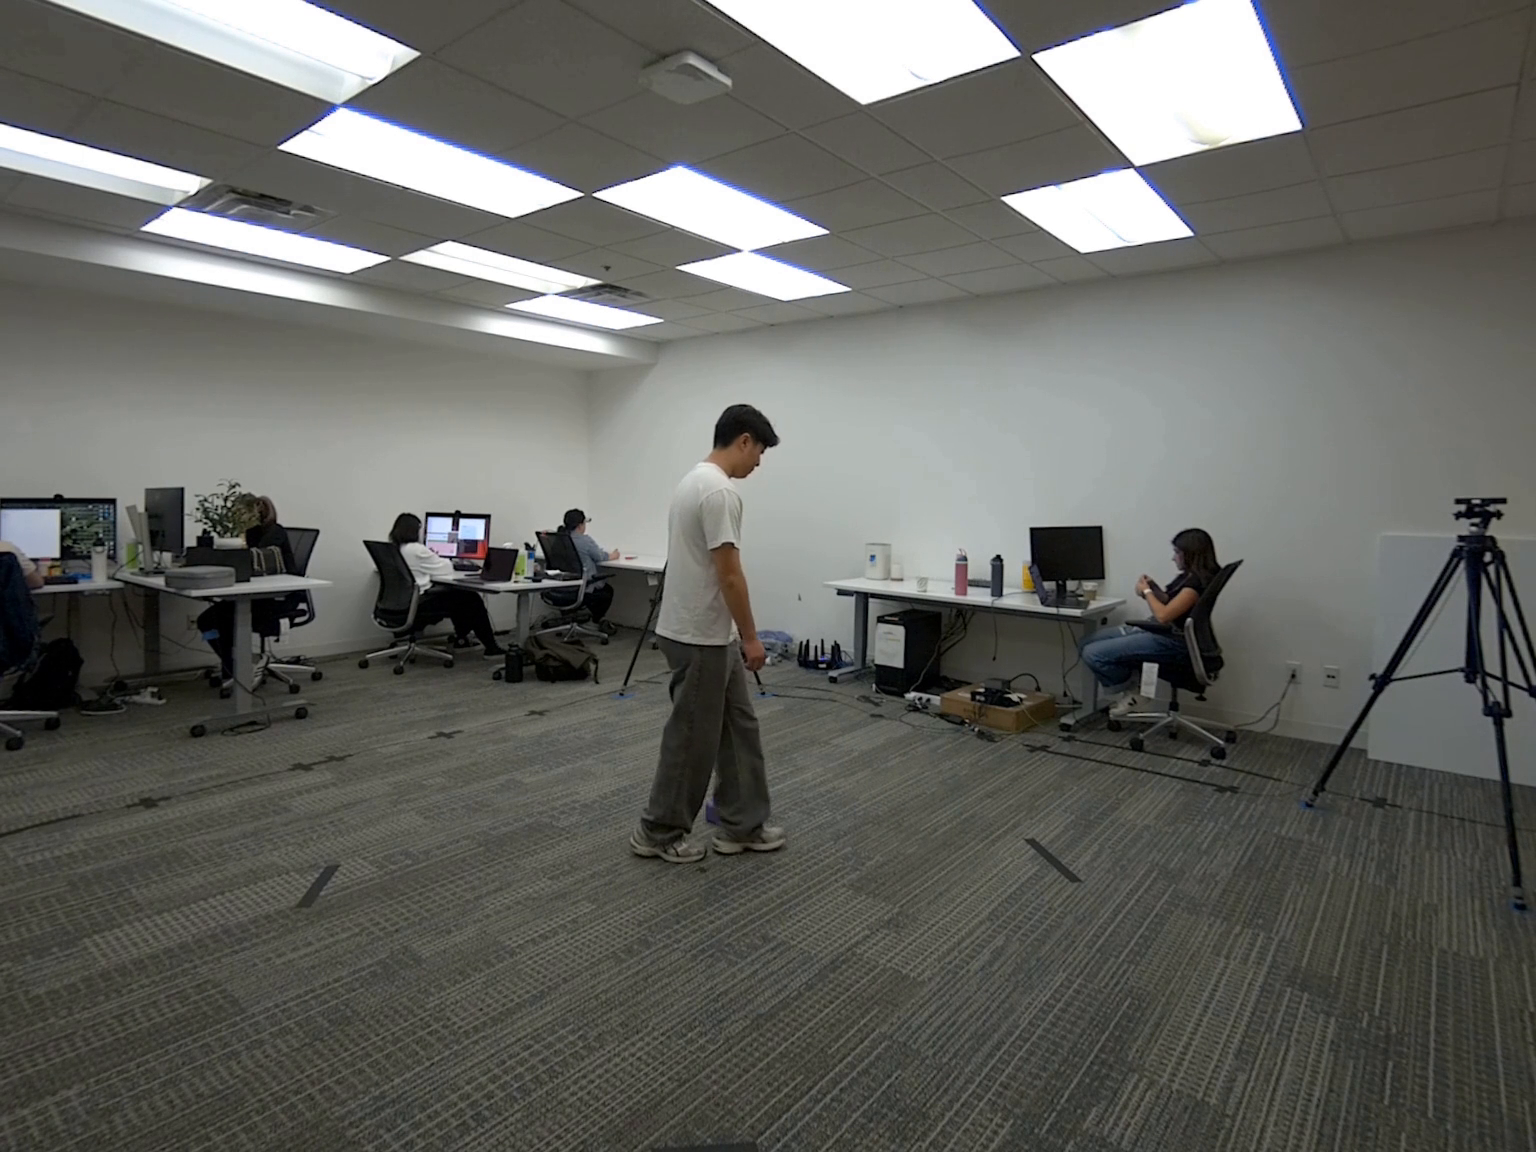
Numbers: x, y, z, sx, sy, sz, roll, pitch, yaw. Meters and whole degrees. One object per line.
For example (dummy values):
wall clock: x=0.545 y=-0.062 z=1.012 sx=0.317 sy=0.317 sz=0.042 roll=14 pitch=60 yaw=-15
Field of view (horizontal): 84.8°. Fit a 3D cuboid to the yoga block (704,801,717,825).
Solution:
yoga block: x=-0.131 y=0.974 z=3.603 sx=0.154 sy=0.076 sz=0.222 roll=5 pitch=7 yaw=41
